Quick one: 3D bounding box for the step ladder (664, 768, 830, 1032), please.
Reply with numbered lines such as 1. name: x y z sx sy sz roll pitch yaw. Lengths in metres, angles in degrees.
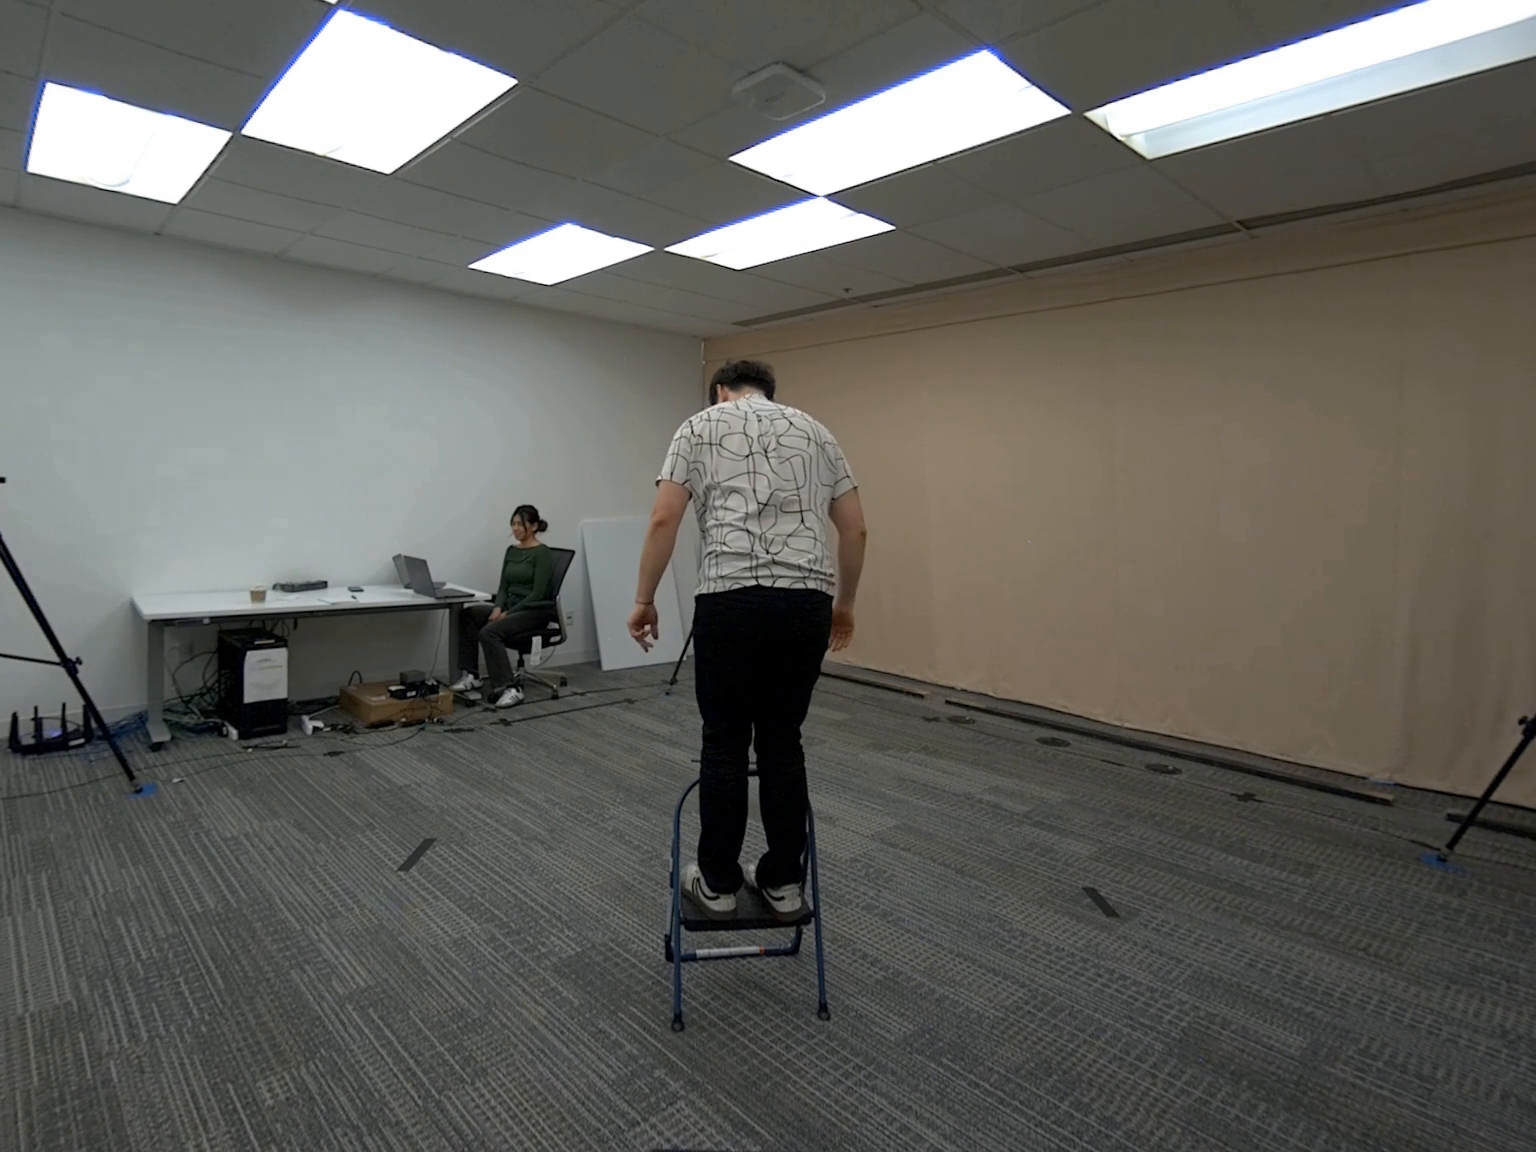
1. step ladder: -0.071 0.874 2.374 0.427 0.604 0.353 1 4 -11
